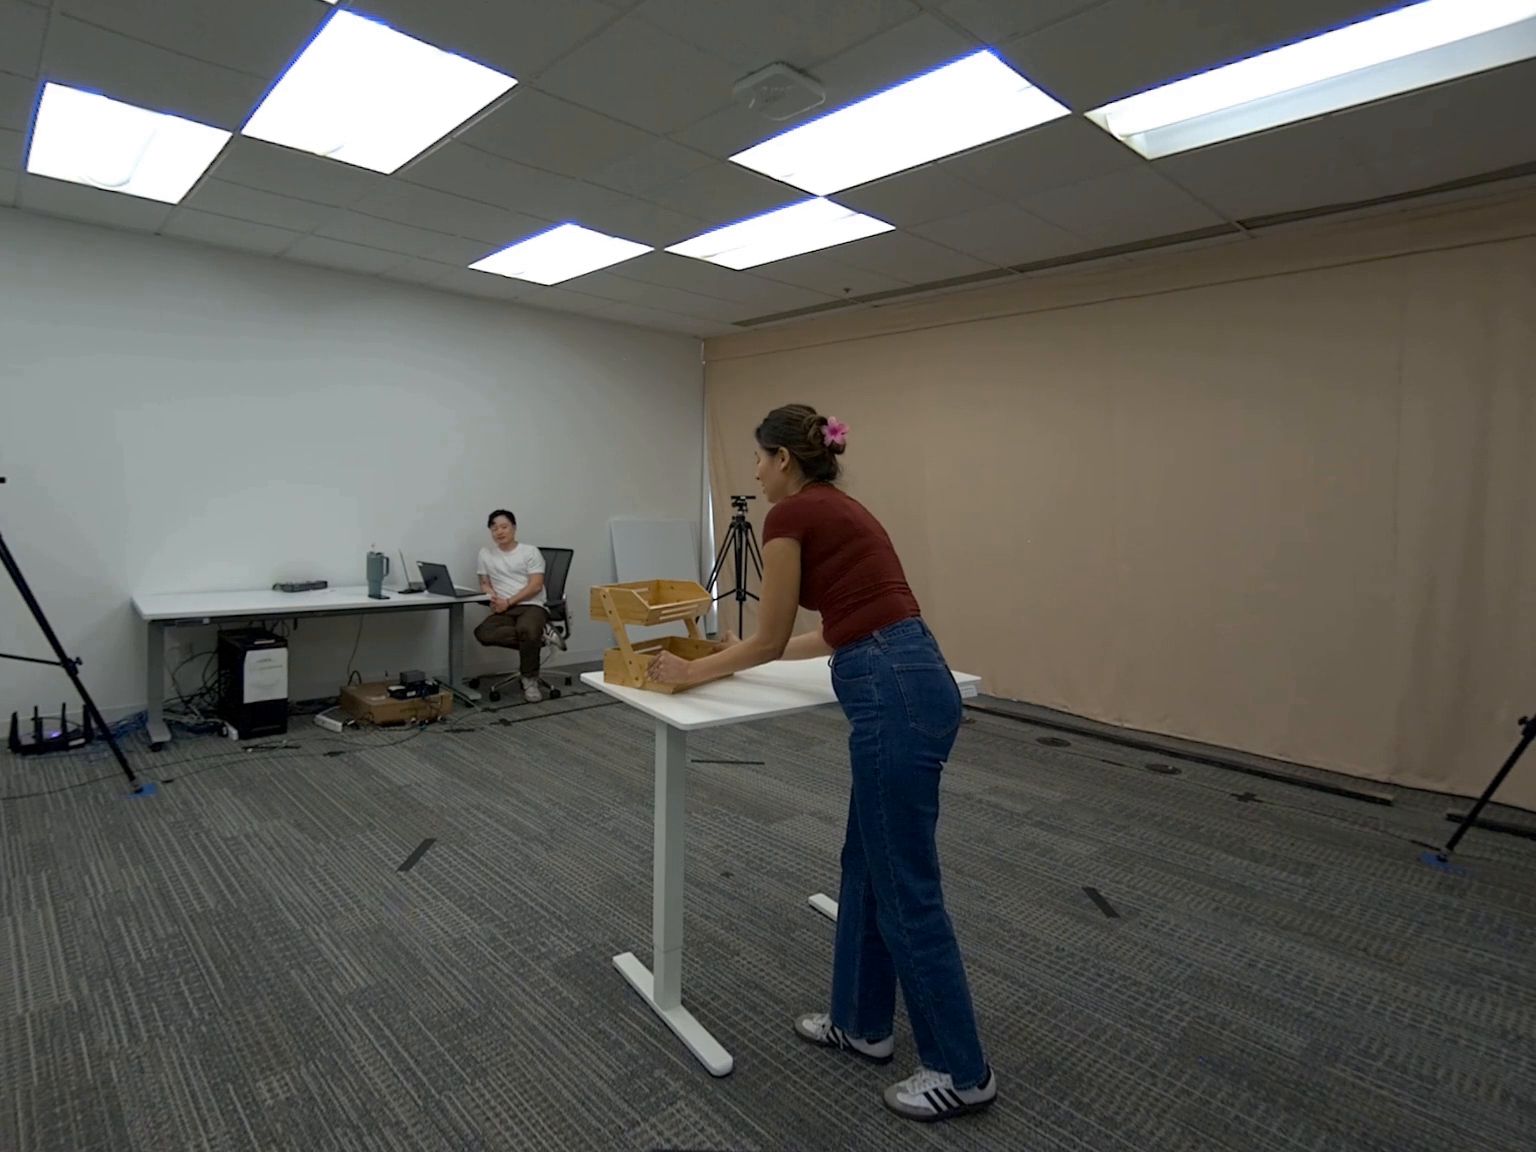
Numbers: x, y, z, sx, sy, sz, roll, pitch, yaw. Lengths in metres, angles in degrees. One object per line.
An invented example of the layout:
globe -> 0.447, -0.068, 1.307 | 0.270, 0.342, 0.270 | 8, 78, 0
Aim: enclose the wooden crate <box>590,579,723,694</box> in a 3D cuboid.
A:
wooden crate -> -0.292, 0.160, 2.346 | 0.309, 0.272, 0.318 | 4, 5, 32
